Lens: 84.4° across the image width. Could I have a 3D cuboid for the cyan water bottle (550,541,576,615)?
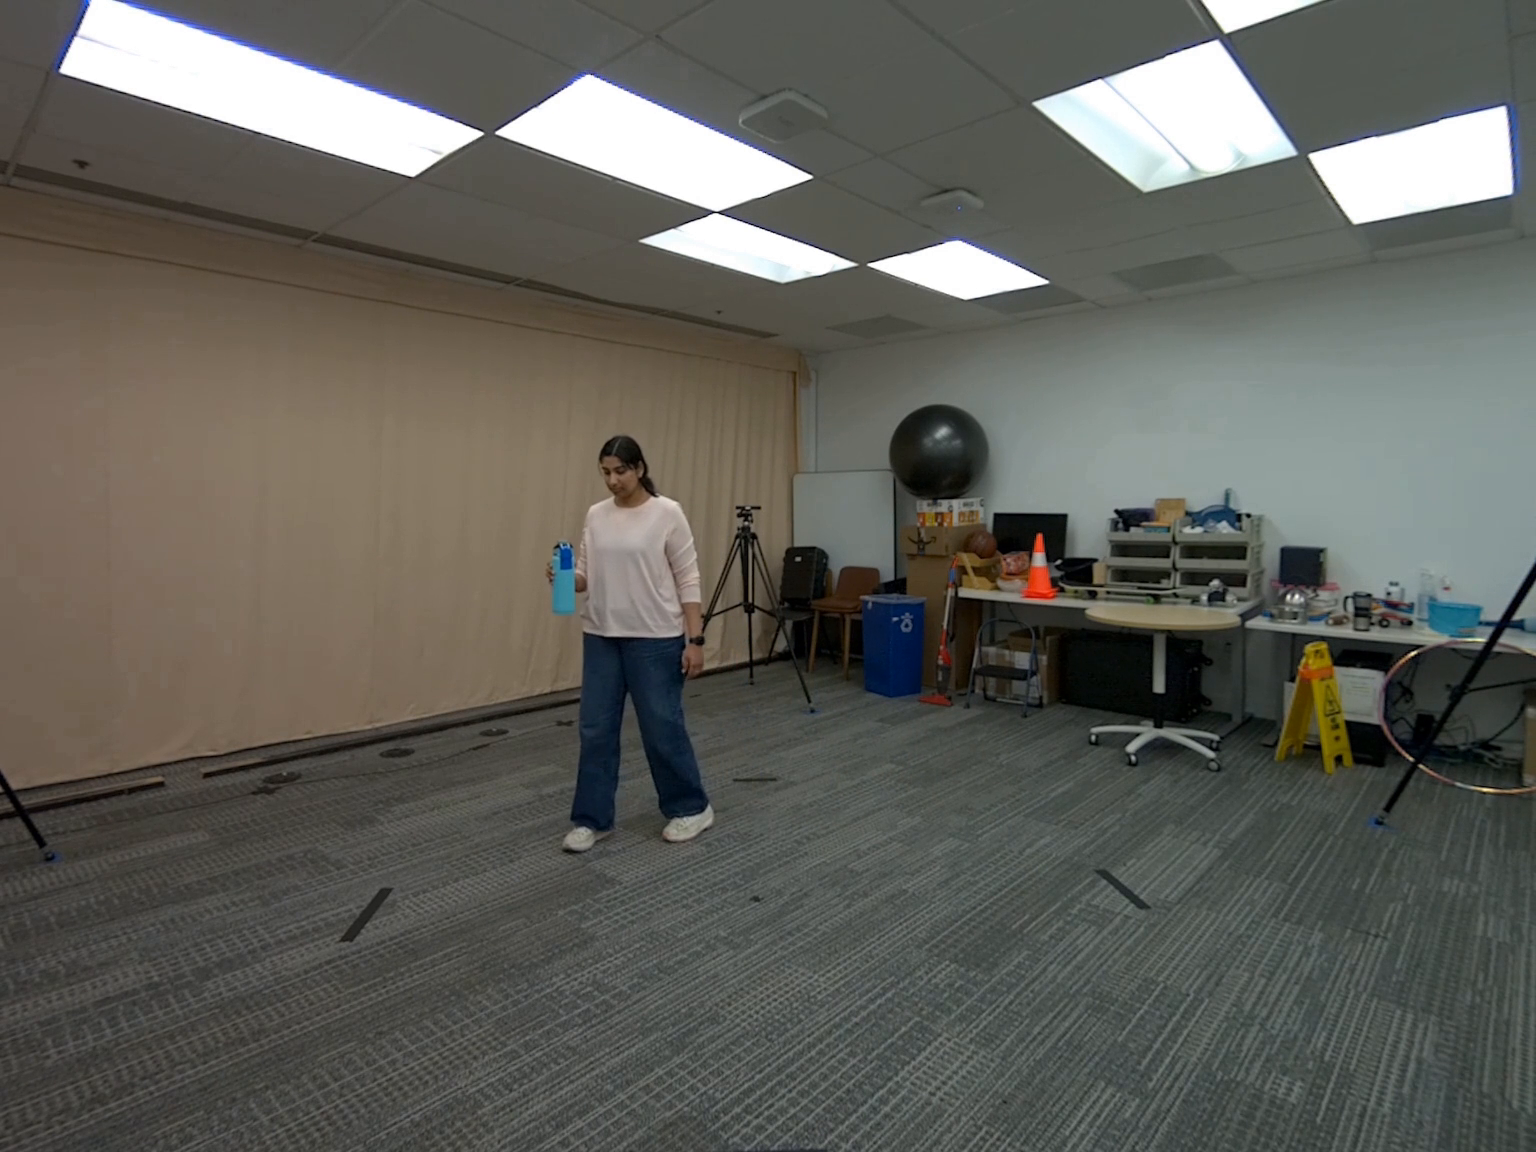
[{"bbox_3d":[-0.801,0.000,3.292,0.092,0.282,0.093,2,7,-2],"label":"cyan water bottle"}]
